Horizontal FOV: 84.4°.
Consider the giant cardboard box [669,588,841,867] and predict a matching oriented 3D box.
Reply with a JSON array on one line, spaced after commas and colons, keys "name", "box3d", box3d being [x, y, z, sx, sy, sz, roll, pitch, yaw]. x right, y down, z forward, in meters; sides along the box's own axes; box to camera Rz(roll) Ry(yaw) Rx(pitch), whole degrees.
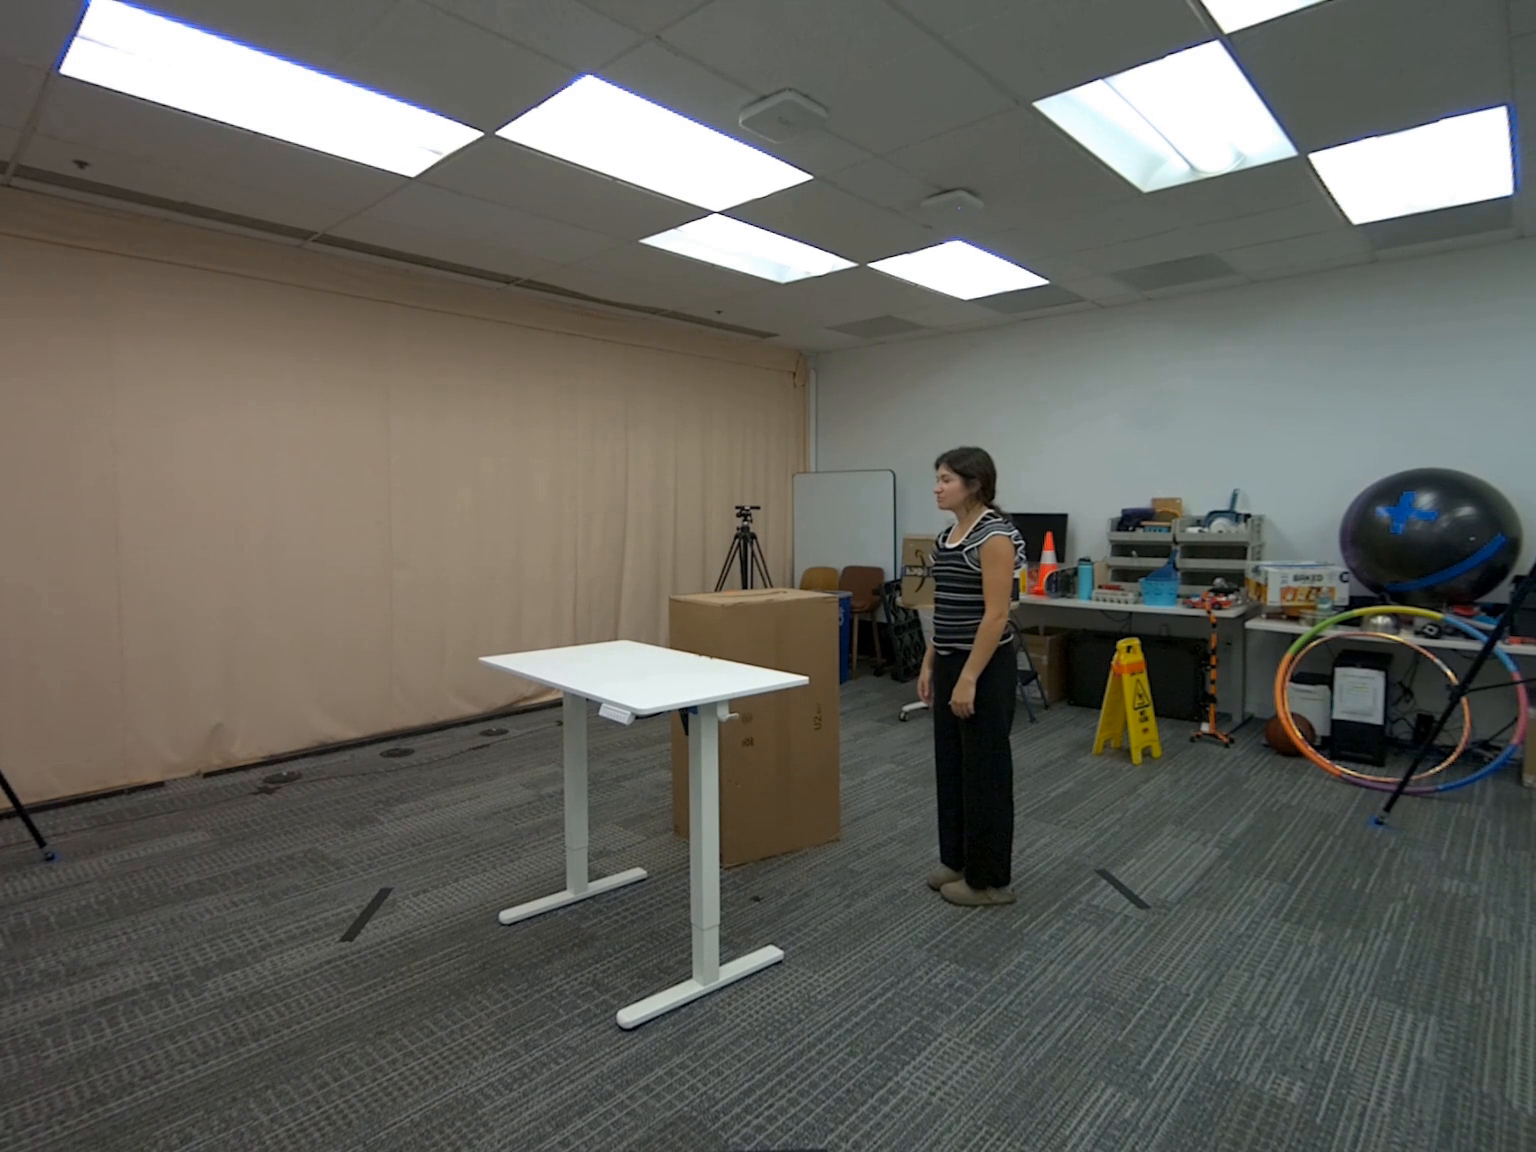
[{"name": "giant cardboard box", "box3d": [-0.058, 0.588, 3.528, 0.562, 1.024, 0.439, -2, 3, -32]}]
